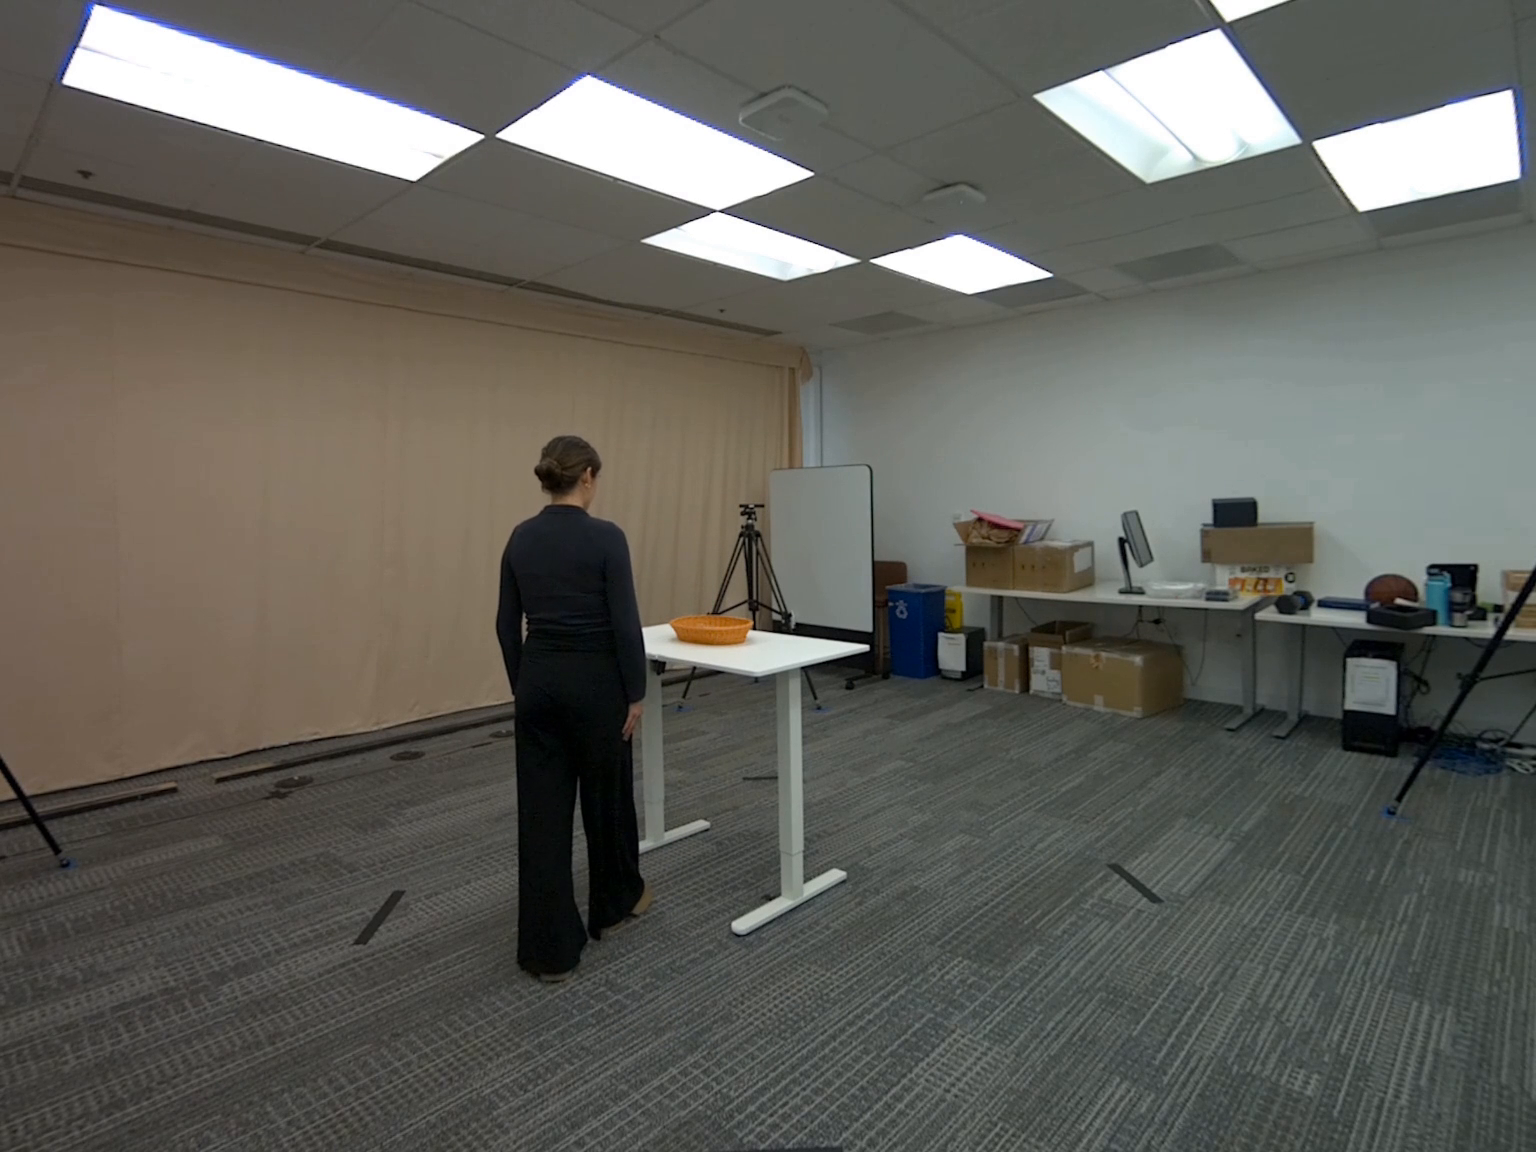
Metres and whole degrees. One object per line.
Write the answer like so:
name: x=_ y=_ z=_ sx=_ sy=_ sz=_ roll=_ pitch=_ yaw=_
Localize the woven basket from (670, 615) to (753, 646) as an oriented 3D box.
woven basket: x=-0.222 y=0.216 z=3.194 sx=0.362 sy=0.073 sz=0.245 roll=4 pitch=8 yaw=43
